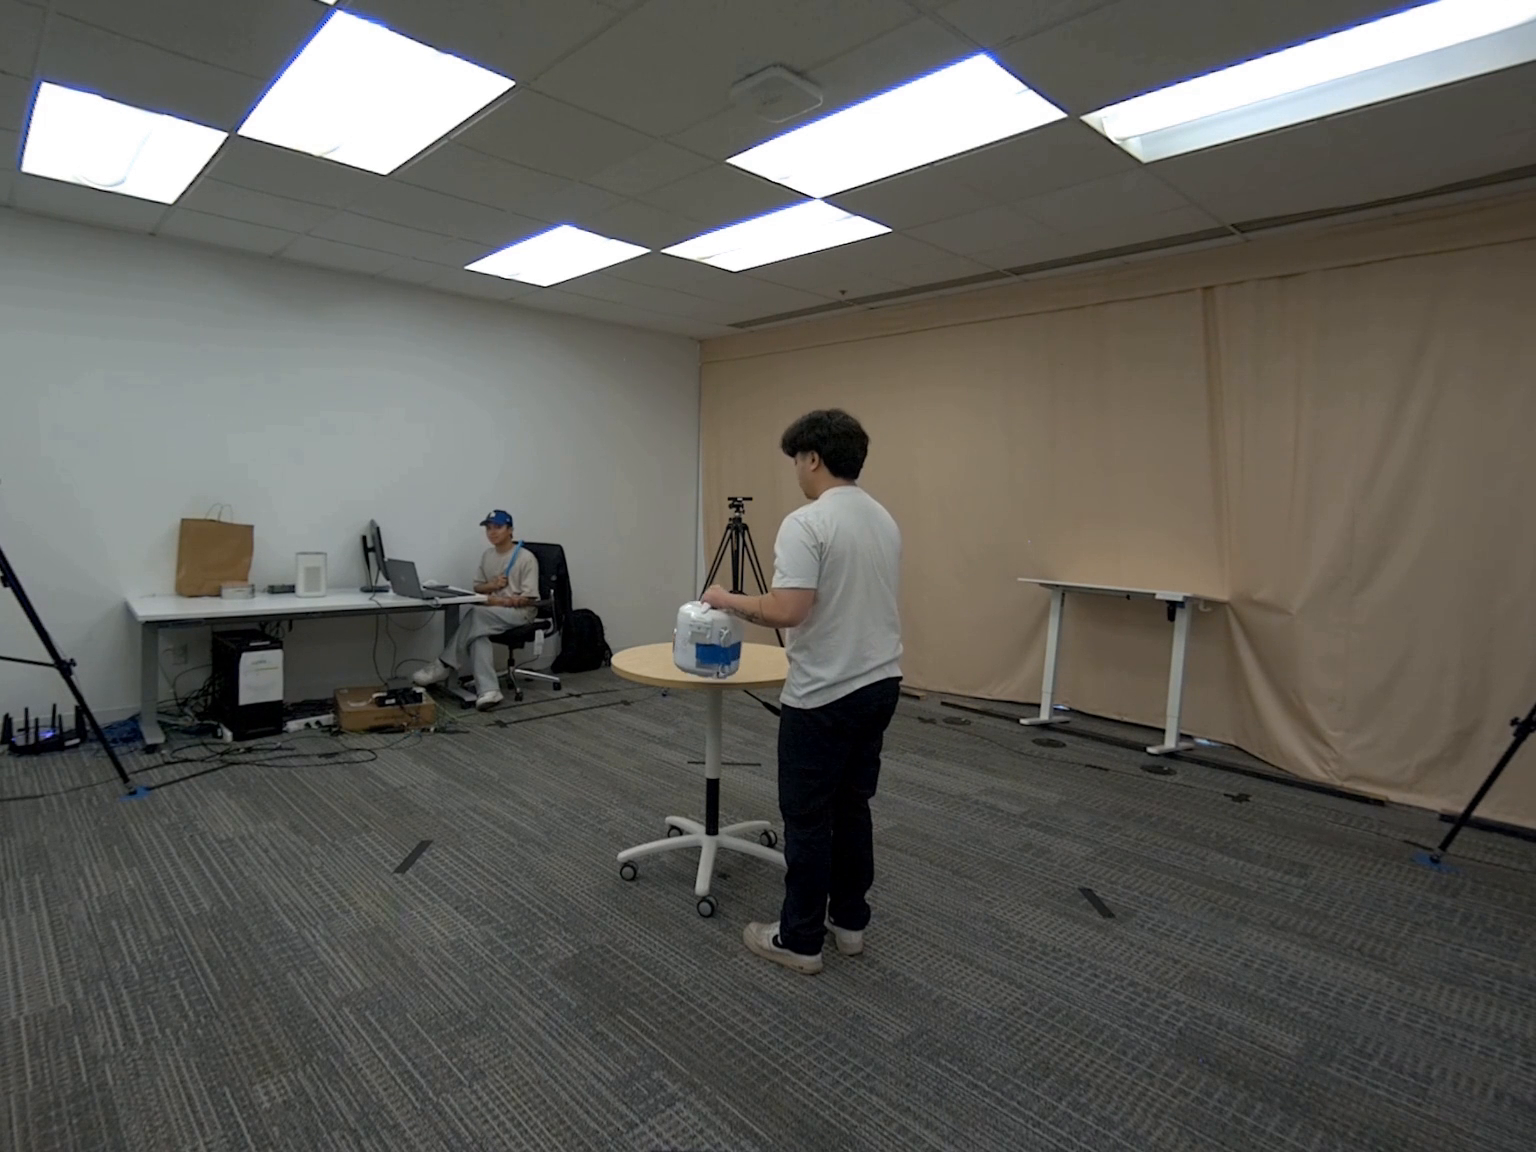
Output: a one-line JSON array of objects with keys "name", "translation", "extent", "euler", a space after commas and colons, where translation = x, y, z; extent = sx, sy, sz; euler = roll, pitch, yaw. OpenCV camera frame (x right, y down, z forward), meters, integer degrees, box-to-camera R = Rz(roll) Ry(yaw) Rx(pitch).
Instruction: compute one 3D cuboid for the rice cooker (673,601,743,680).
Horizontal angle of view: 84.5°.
[{"name": "rice cooker", "translation": [-0.193, 0.181, 2.624], "extent": [0.221, 0.232, 0.218], "euler": [9, 6, 17]}]
